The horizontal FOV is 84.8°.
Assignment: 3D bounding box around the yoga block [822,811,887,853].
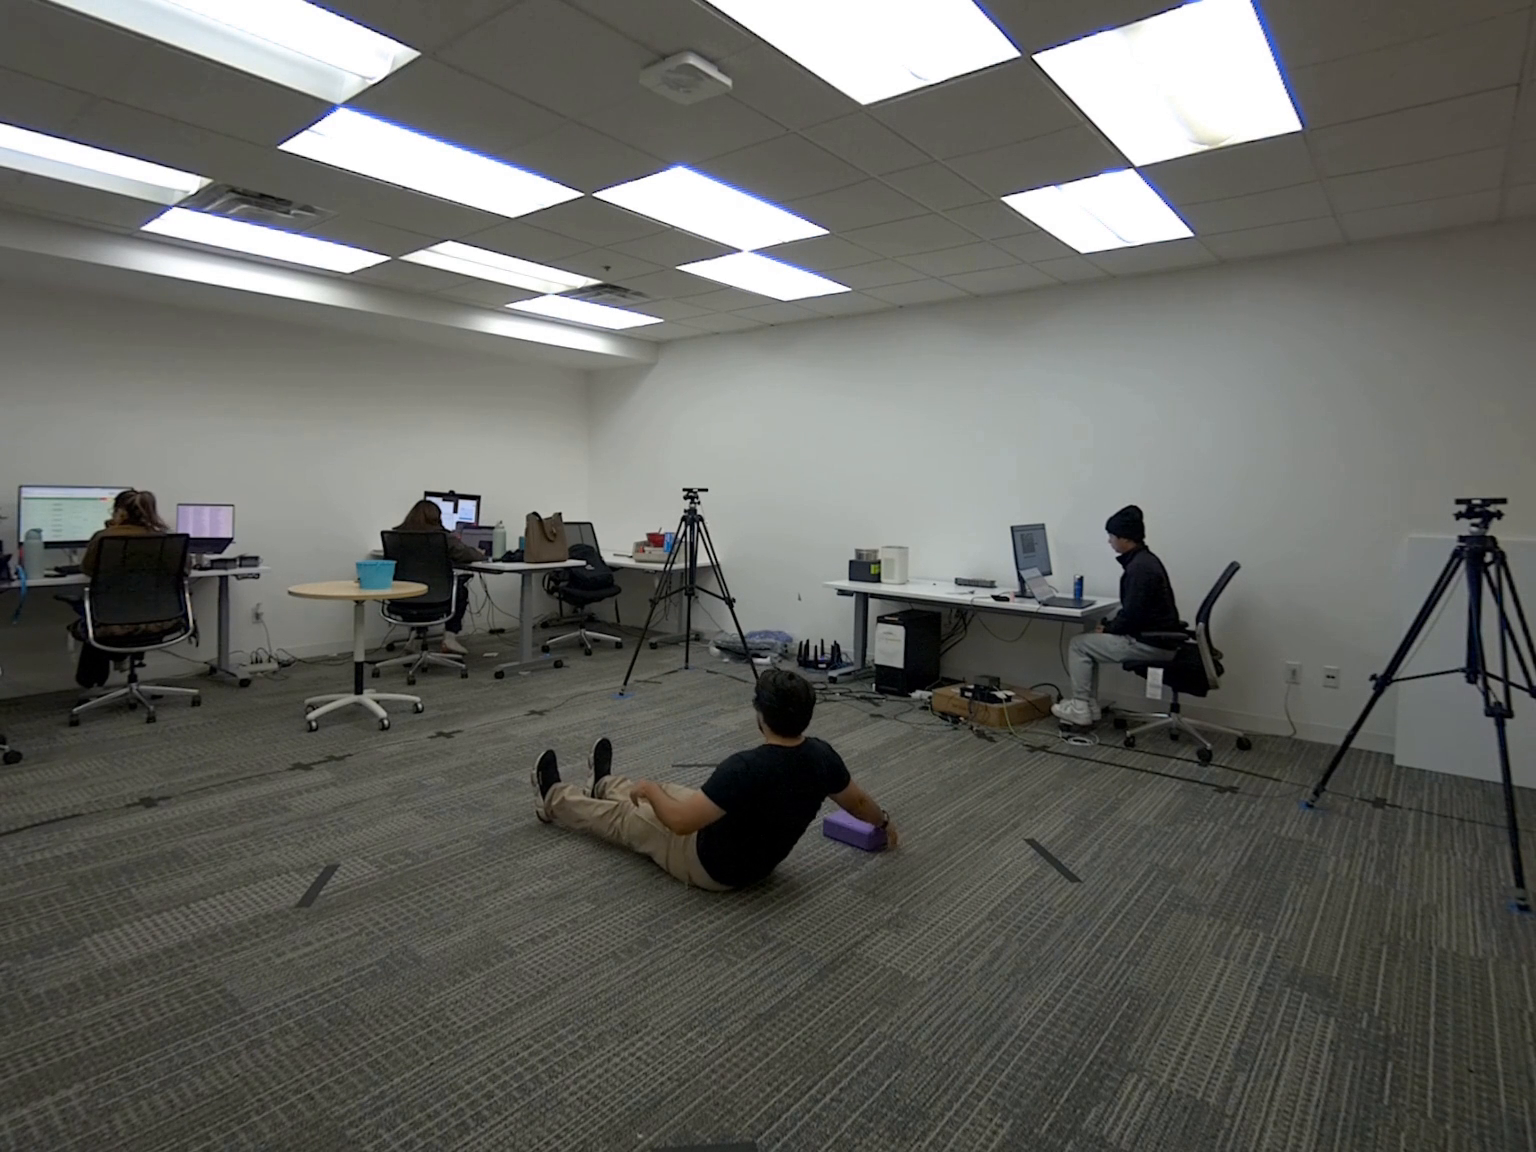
[{"bbox_3d":[0.341,1.011,3.416,0.237,0.076,0.144,6,5,41],"label":"yoga block"}]
